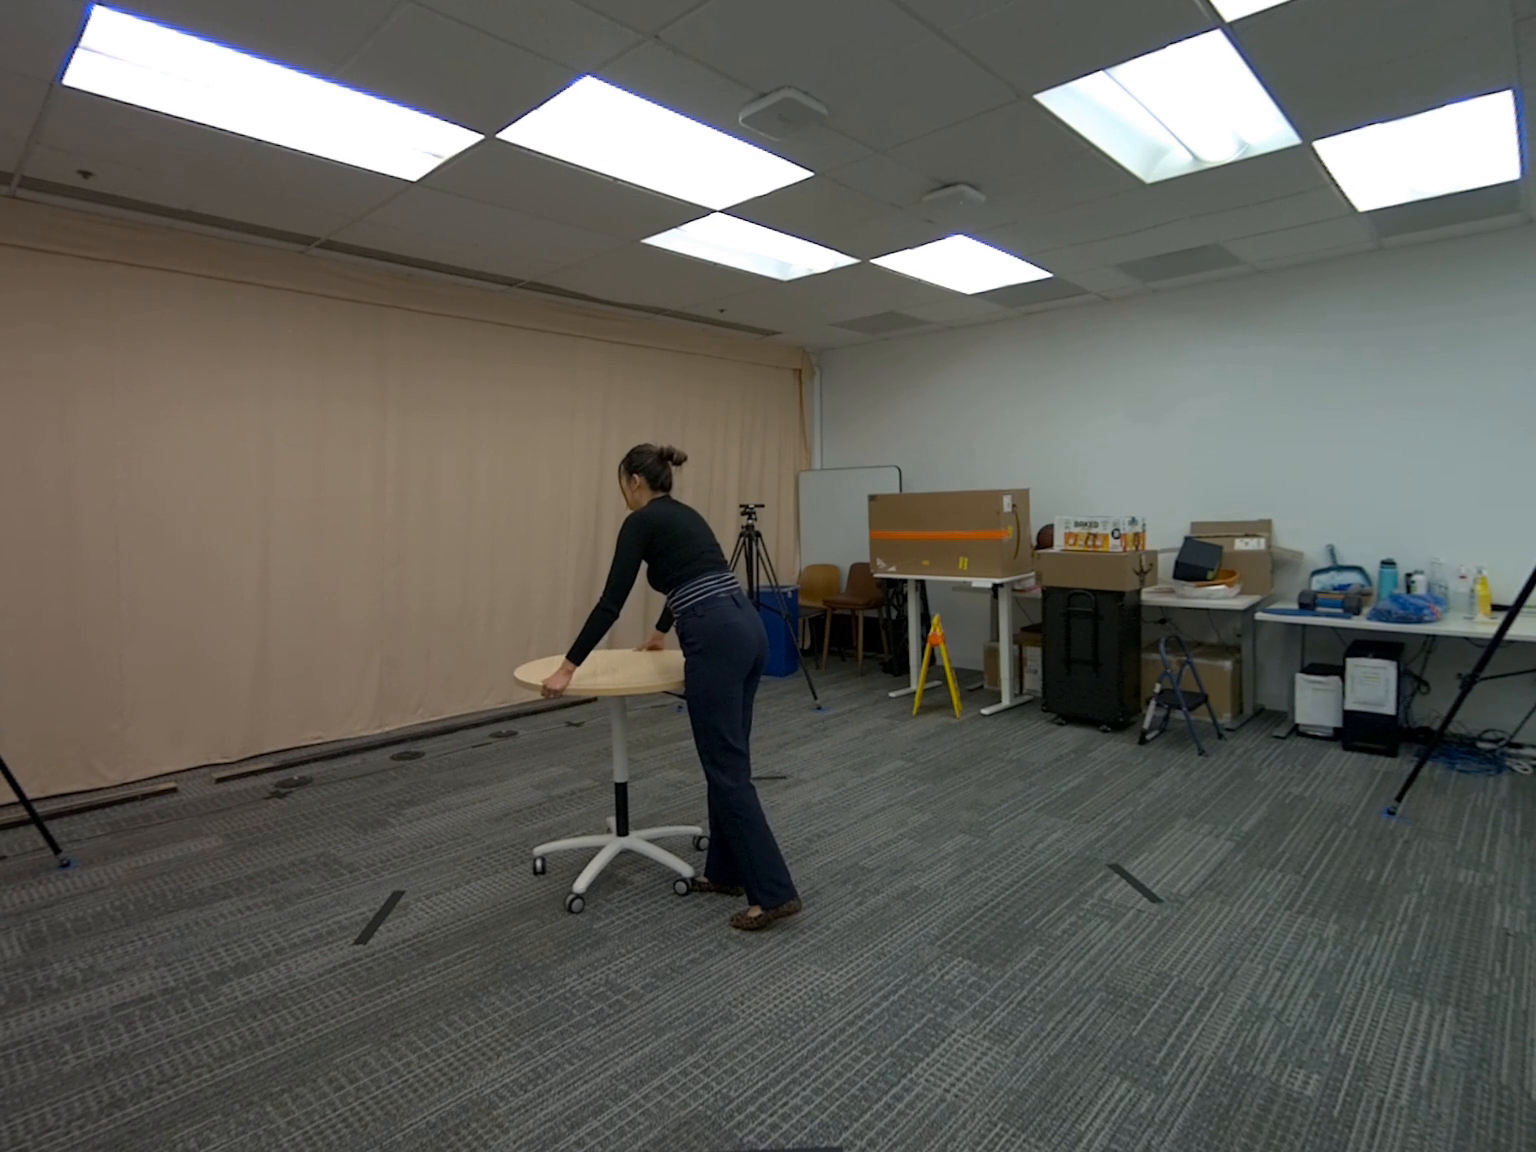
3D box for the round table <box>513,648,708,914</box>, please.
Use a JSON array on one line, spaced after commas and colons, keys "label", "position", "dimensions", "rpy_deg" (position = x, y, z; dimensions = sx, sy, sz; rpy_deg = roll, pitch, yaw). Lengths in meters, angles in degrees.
[{"label": "round table", "position": [-0.566, 0.741, 3.212], "dimensions": [0.763, 0.792, 0.766], "rpy_deg": [-1, 3, -2]}]
